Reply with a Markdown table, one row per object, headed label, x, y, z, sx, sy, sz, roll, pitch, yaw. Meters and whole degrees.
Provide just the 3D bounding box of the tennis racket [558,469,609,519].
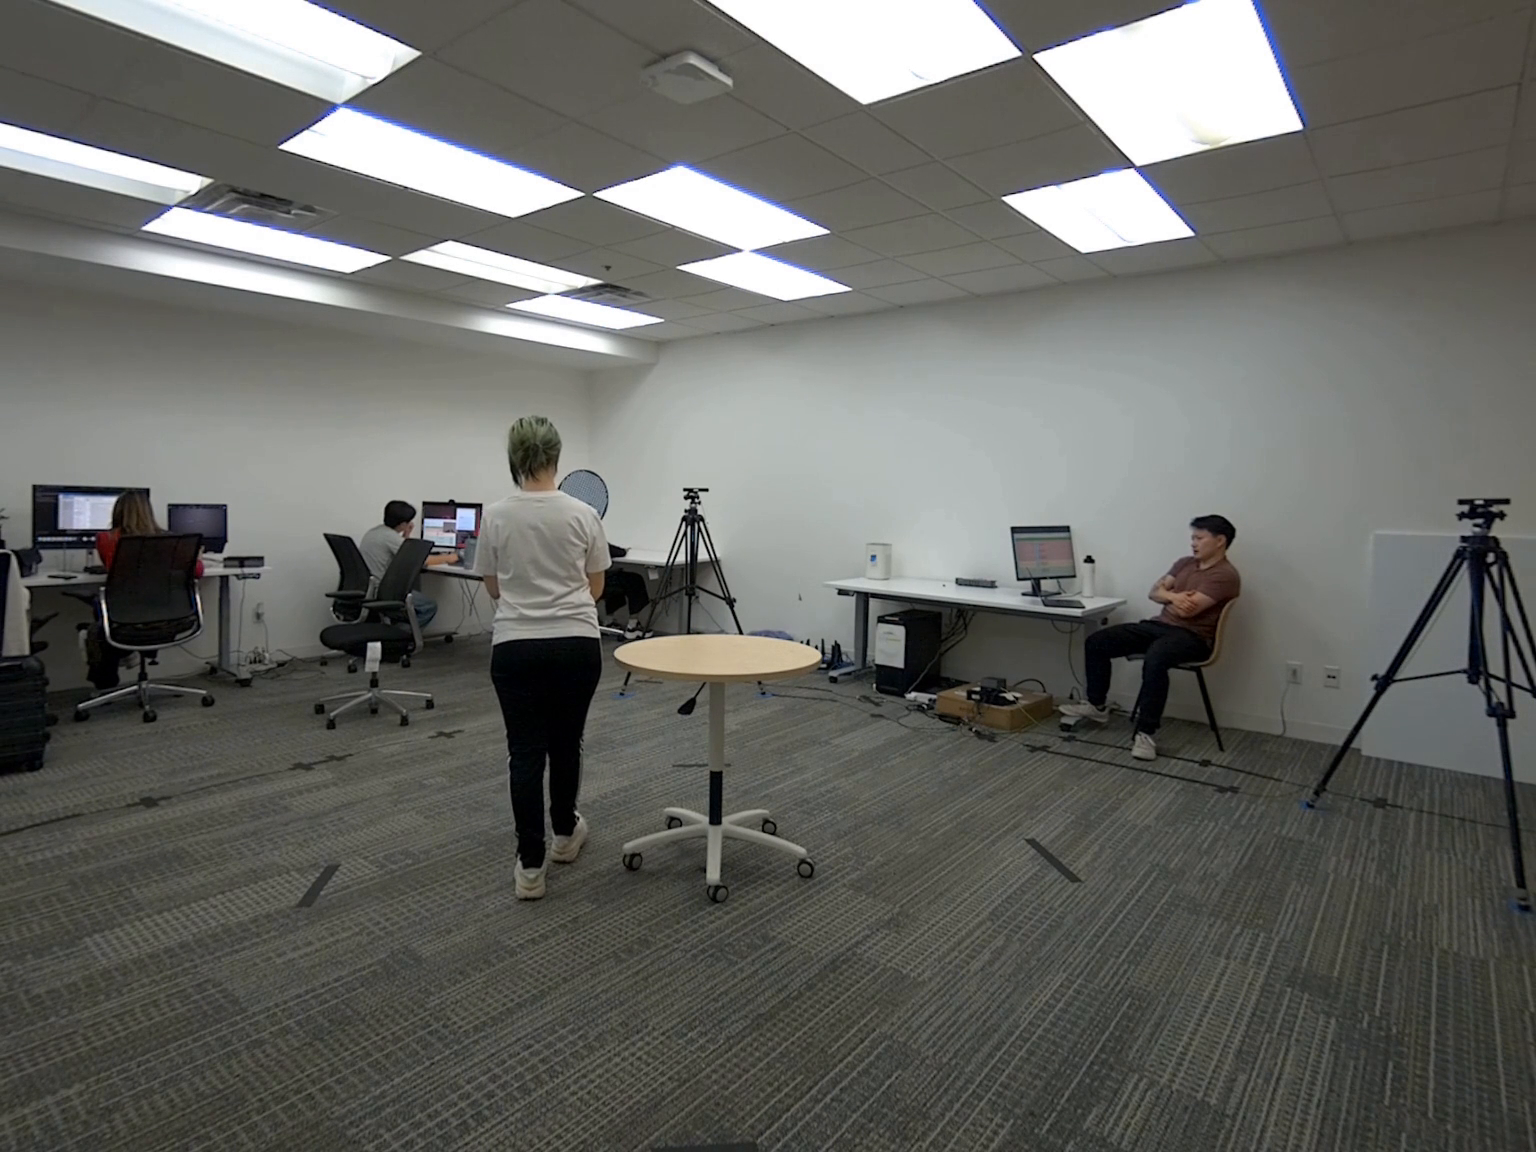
| label | x | y | z | sx | sy | sz | roll | pitch | yaw |
| --- | --- | --- | --- | --- | --- | --- | --- | --- | --- |
| tennis racket | -0.770 | -0.228 | 3.346 | 0.209 | 0.438 | 0.032 | 20 | -19 | -18 |
